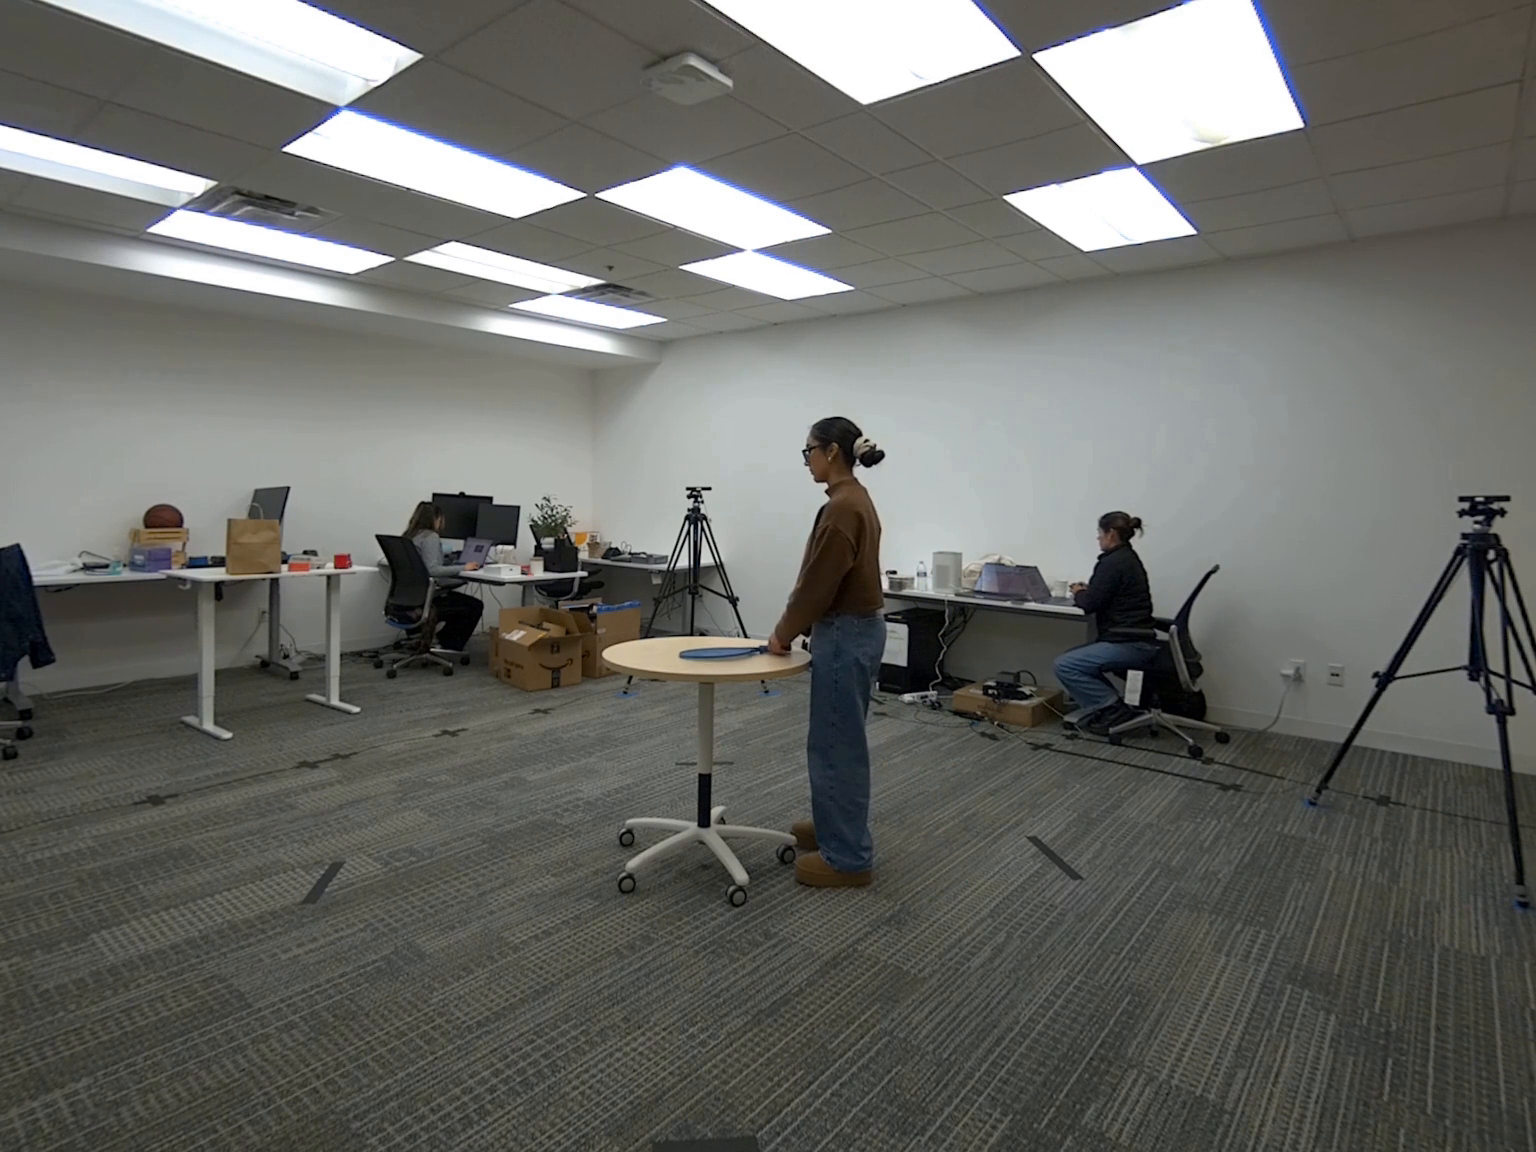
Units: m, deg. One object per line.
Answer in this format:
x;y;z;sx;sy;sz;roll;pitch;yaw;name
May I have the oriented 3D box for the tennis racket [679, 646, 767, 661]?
-0.124;0.278;3.083;0.424;0.032;0.218;-2;2;-21;tennis racket
